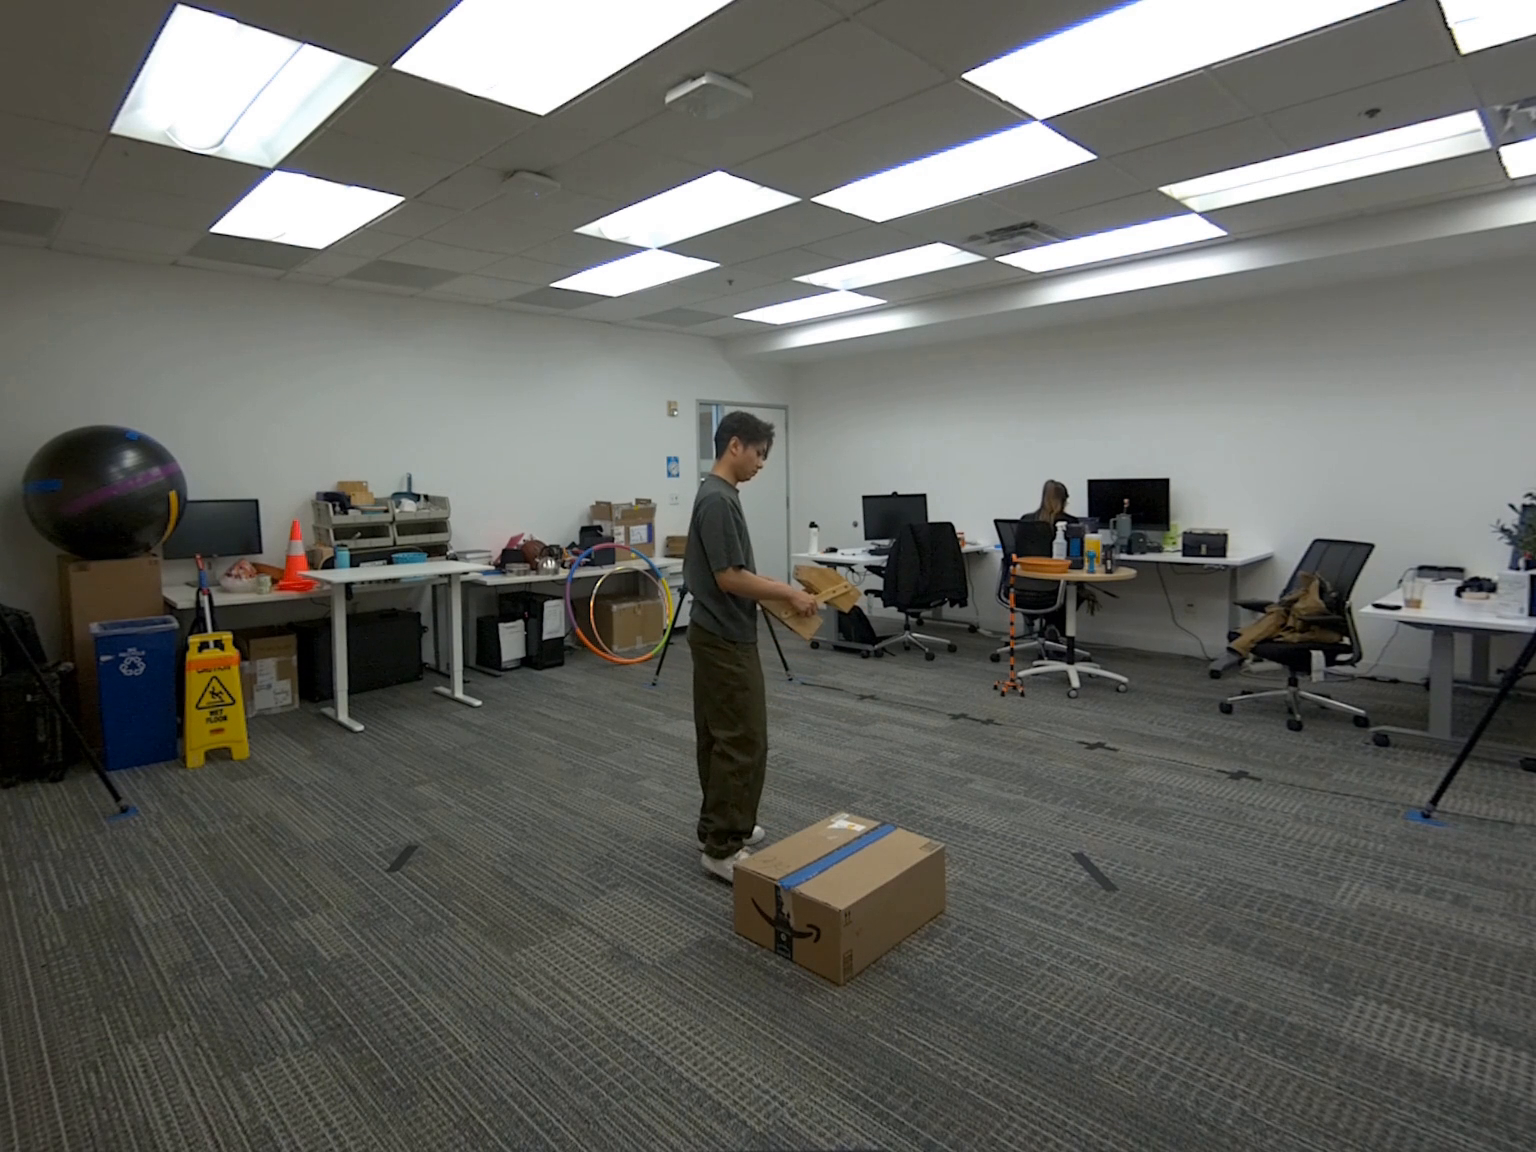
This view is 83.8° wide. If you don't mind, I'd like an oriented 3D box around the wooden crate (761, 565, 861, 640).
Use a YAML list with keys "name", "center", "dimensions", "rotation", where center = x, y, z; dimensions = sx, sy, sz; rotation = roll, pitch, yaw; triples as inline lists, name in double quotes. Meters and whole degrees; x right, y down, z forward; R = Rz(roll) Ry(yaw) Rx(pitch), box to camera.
- name: "wooden crate"
  center: [0.124, 0.056, 3.231]
  dimensions: [0.299, 0.273, 0.327]
  rotation: [40, -5, -8]
